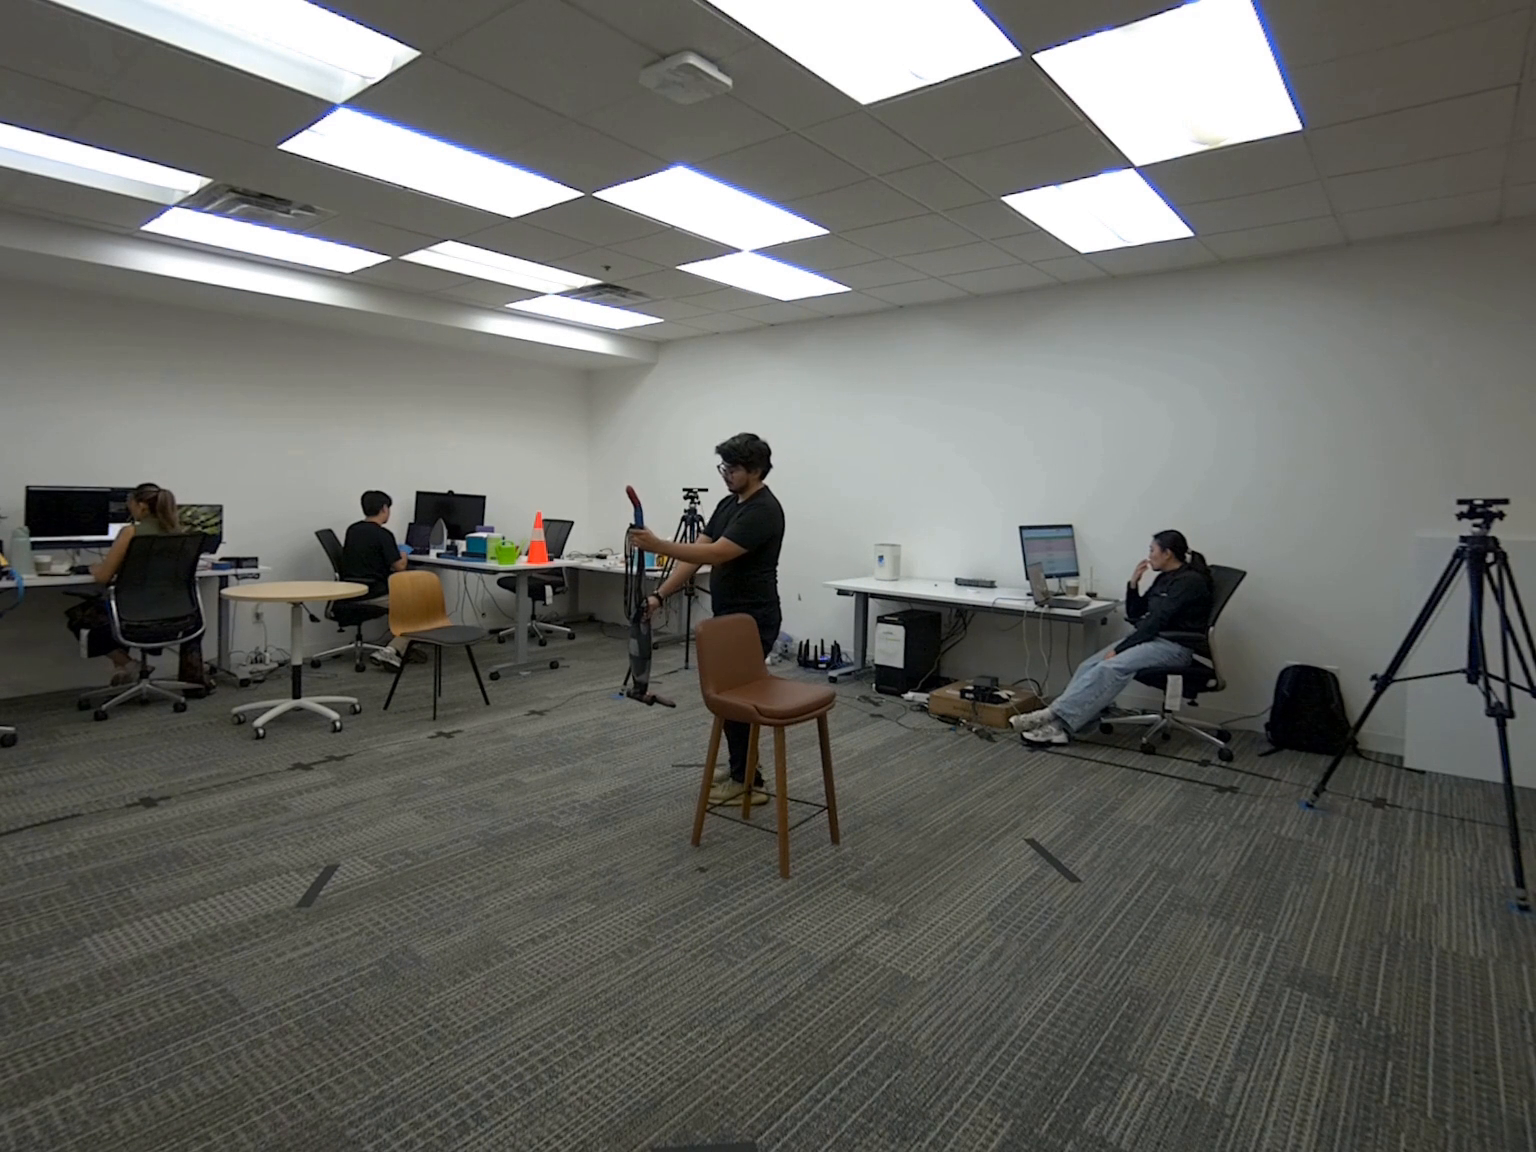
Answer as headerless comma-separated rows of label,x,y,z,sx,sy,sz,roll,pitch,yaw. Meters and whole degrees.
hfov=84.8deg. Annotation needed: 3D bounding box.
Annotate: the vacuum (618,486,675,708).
vacuum,-0.577,0.101,3.675,0.141,1.025,0.263,-22,31,-35
